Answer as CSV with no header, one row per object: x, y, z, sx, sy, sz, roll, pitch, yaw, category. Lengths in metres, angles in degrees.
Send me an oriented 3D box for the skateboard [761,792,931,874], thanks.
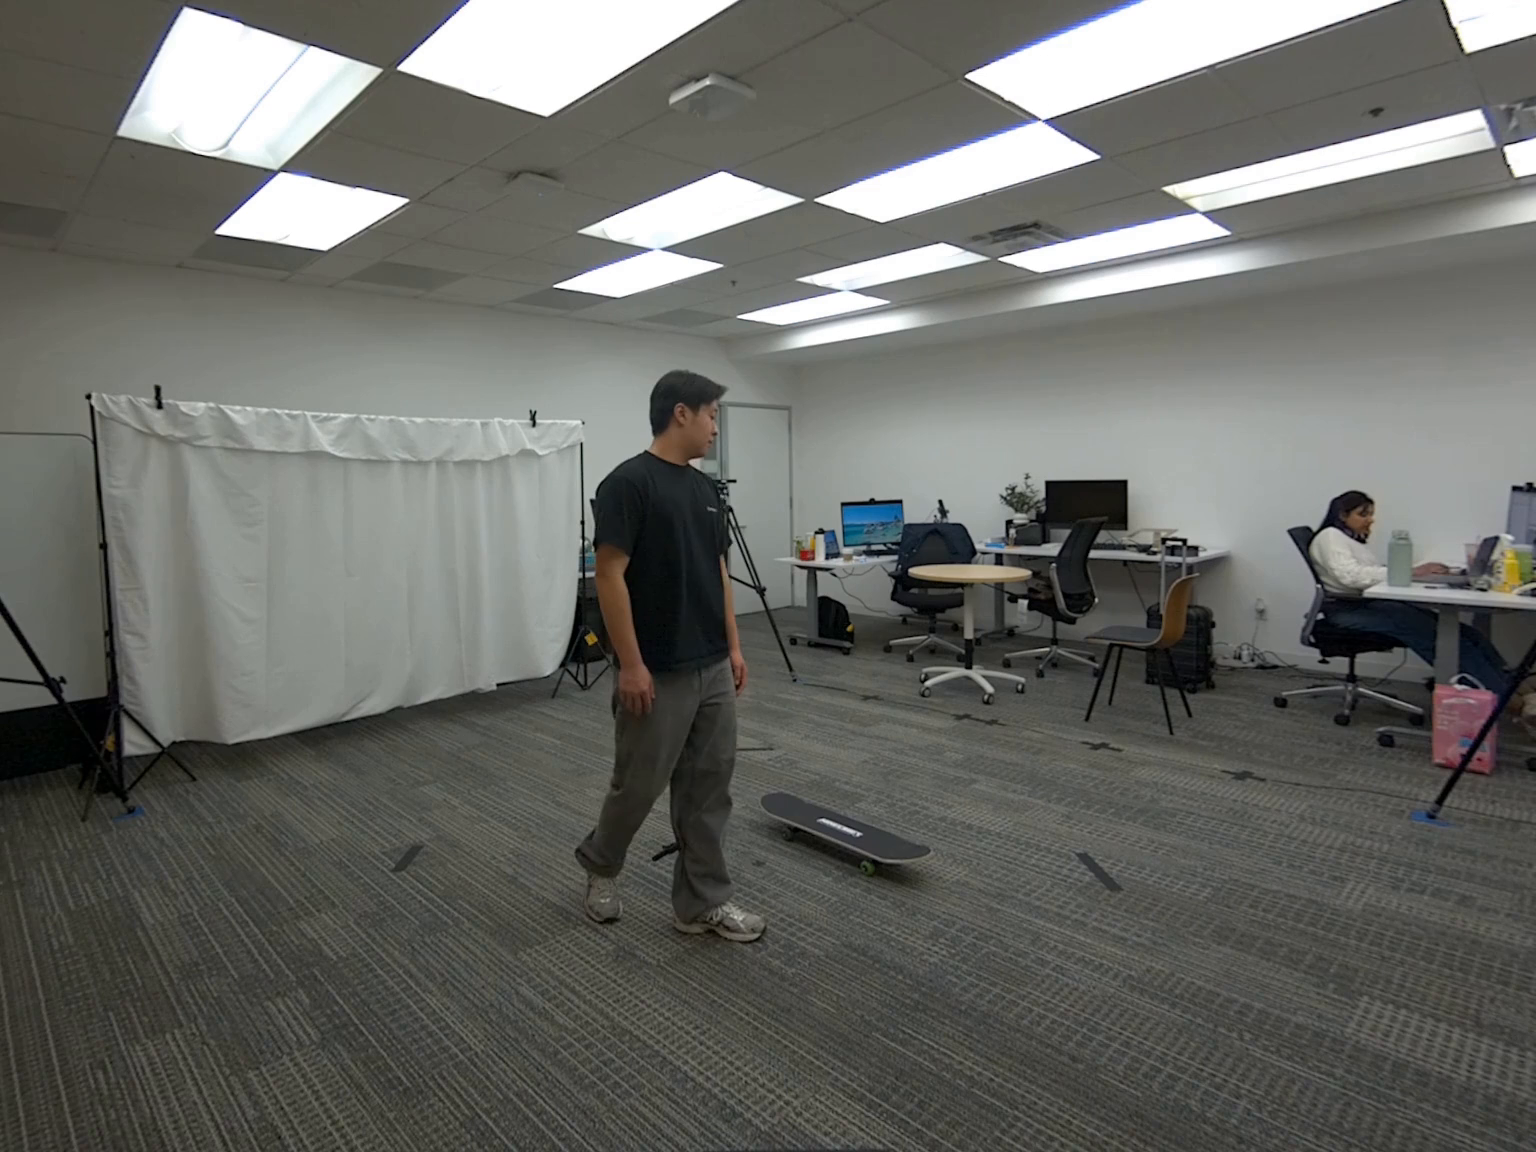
0.273,0.976,3.200,0.188,0.110,0.810,-7,8,-41,skateboard
